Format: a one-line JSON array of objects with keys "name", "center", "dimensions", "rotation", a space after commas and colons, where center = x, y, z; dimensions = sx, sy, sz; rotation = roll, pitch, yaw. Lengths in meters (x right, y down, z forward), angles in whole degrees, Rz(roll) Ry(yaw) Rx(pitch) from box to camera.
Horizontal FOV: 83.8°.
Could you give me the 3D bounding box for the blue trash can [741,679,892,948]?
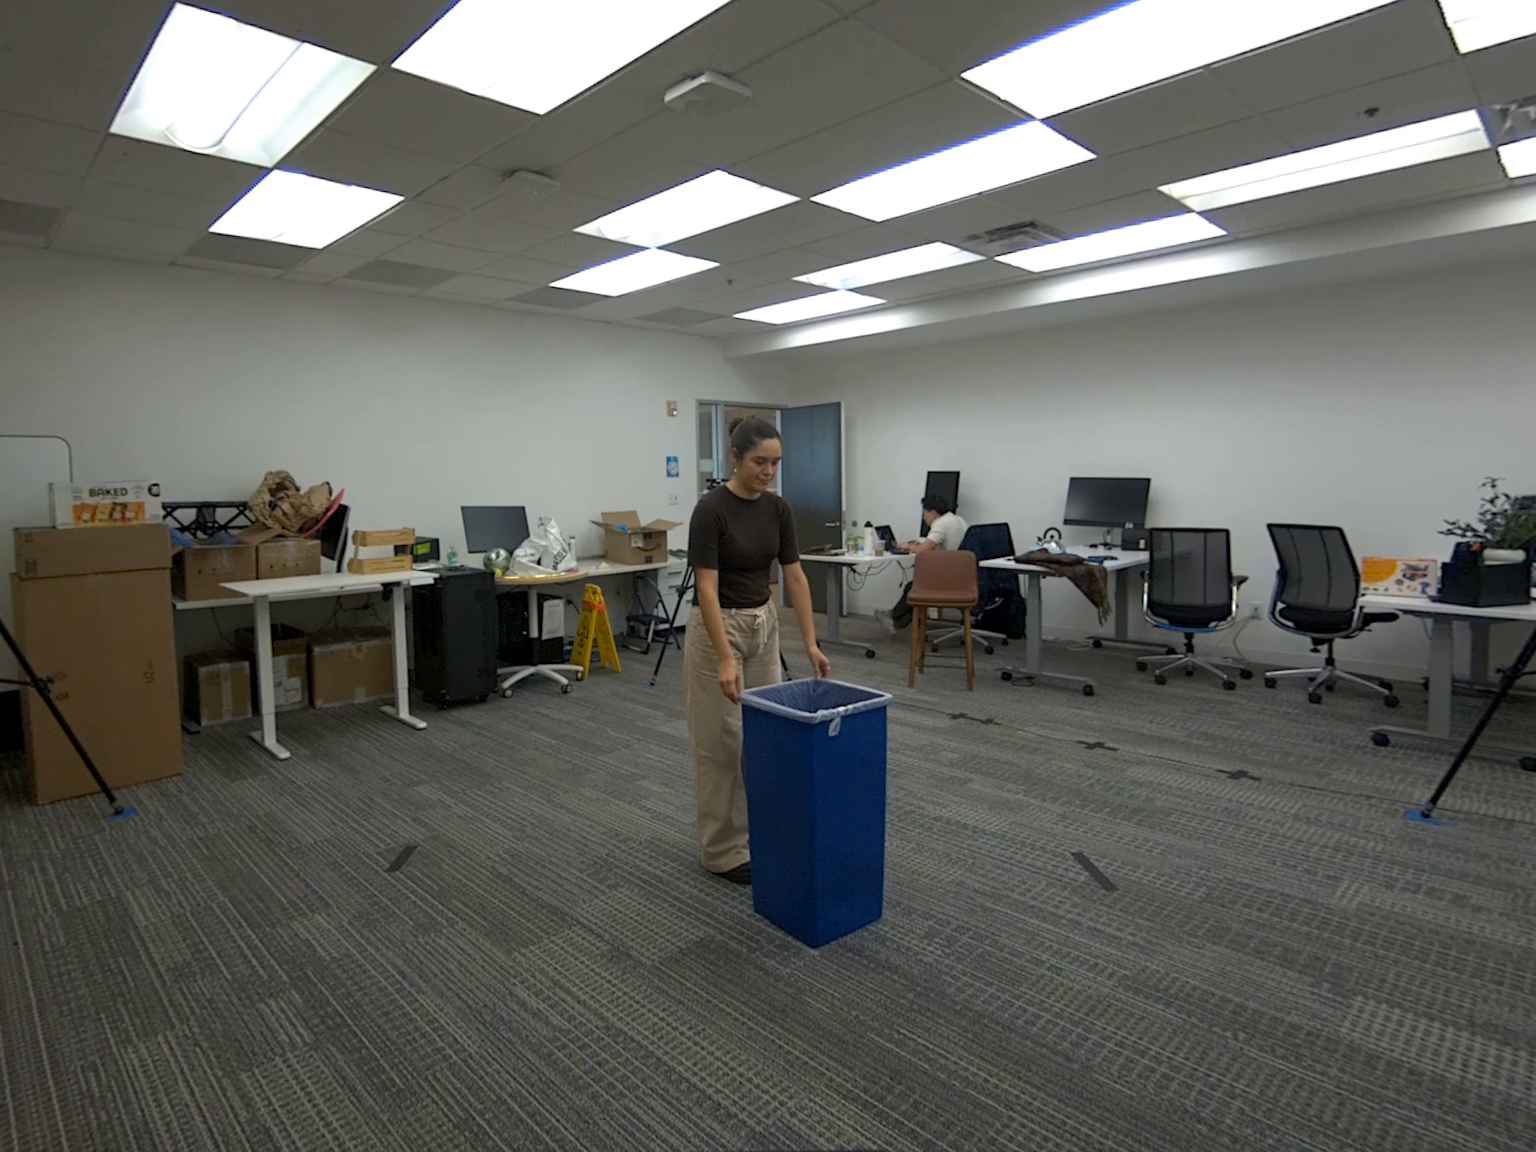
[{"name": "blue trash can", "center": [0.152, 0.728, 2.713], "dimensions": [0.368, 0.711, 0.385], "rotation": [-4, 5, -39]}]
